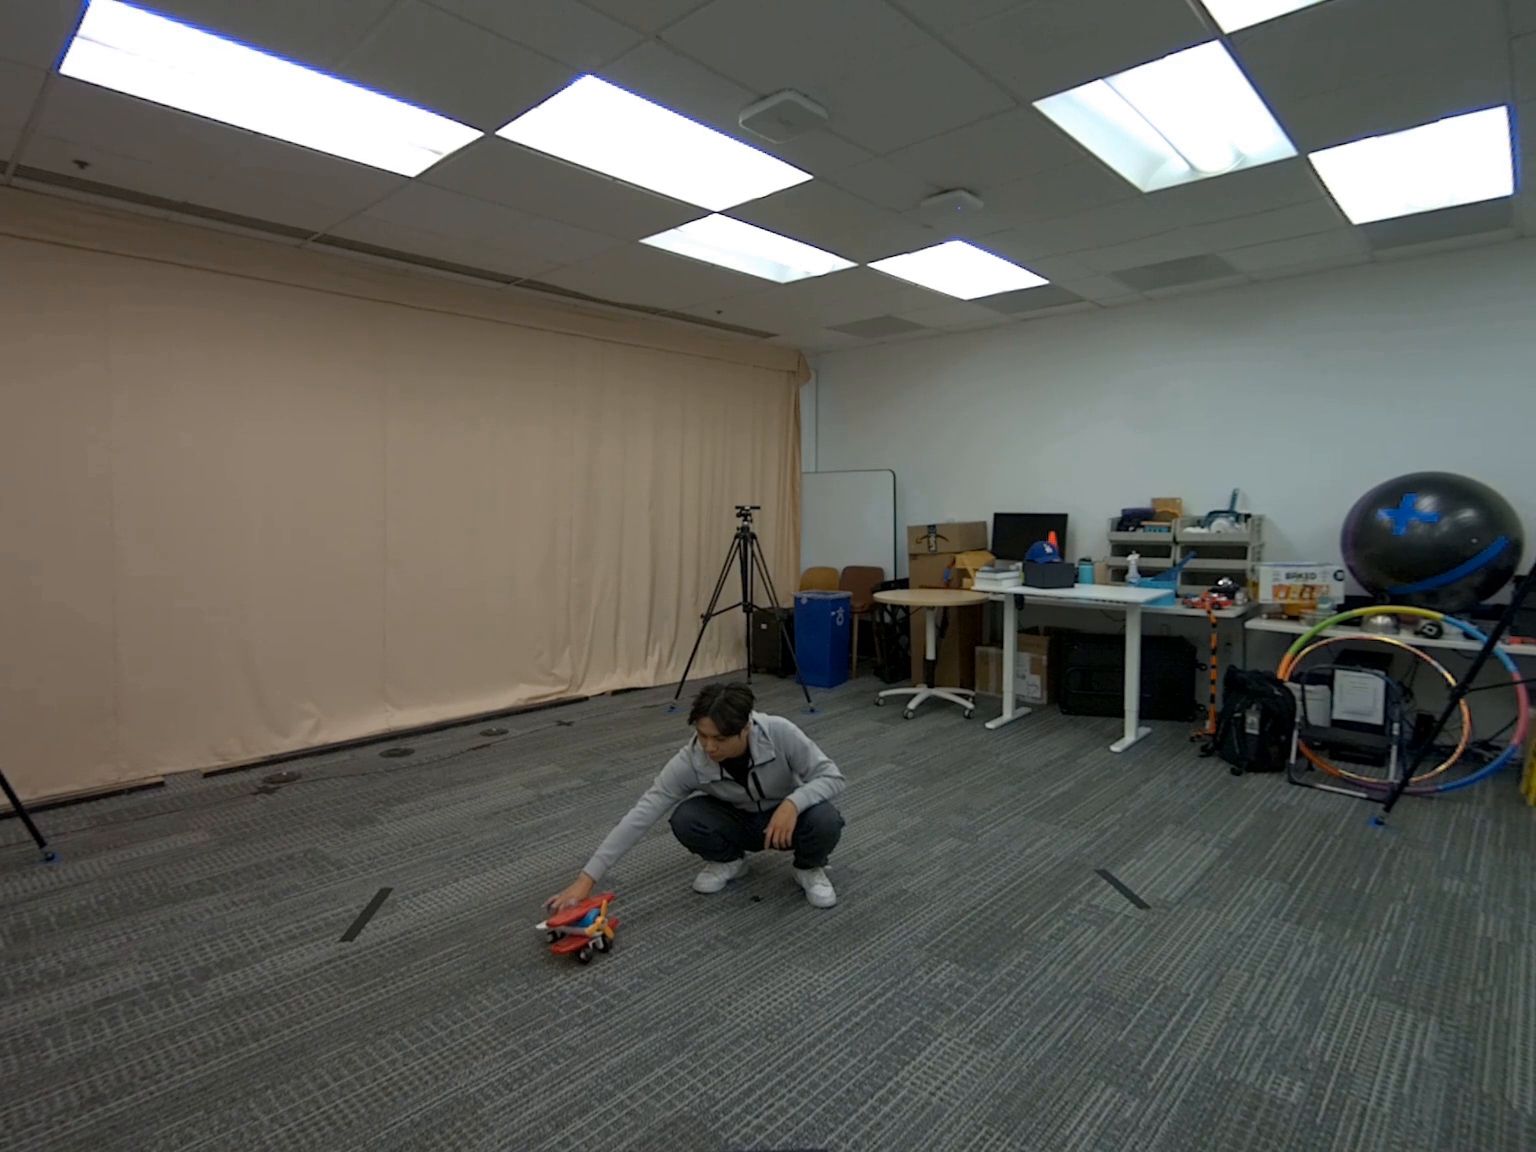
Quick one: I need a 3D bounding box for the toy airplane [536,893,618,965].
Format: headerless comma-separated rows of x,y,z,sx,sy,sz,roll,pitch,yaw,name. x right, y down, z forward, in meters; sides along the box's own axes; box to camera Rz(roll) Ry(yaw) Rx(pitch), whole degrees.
-0.615,1.106,2.630,0.261,0.156,0.250,2,5,7,toy airplane
